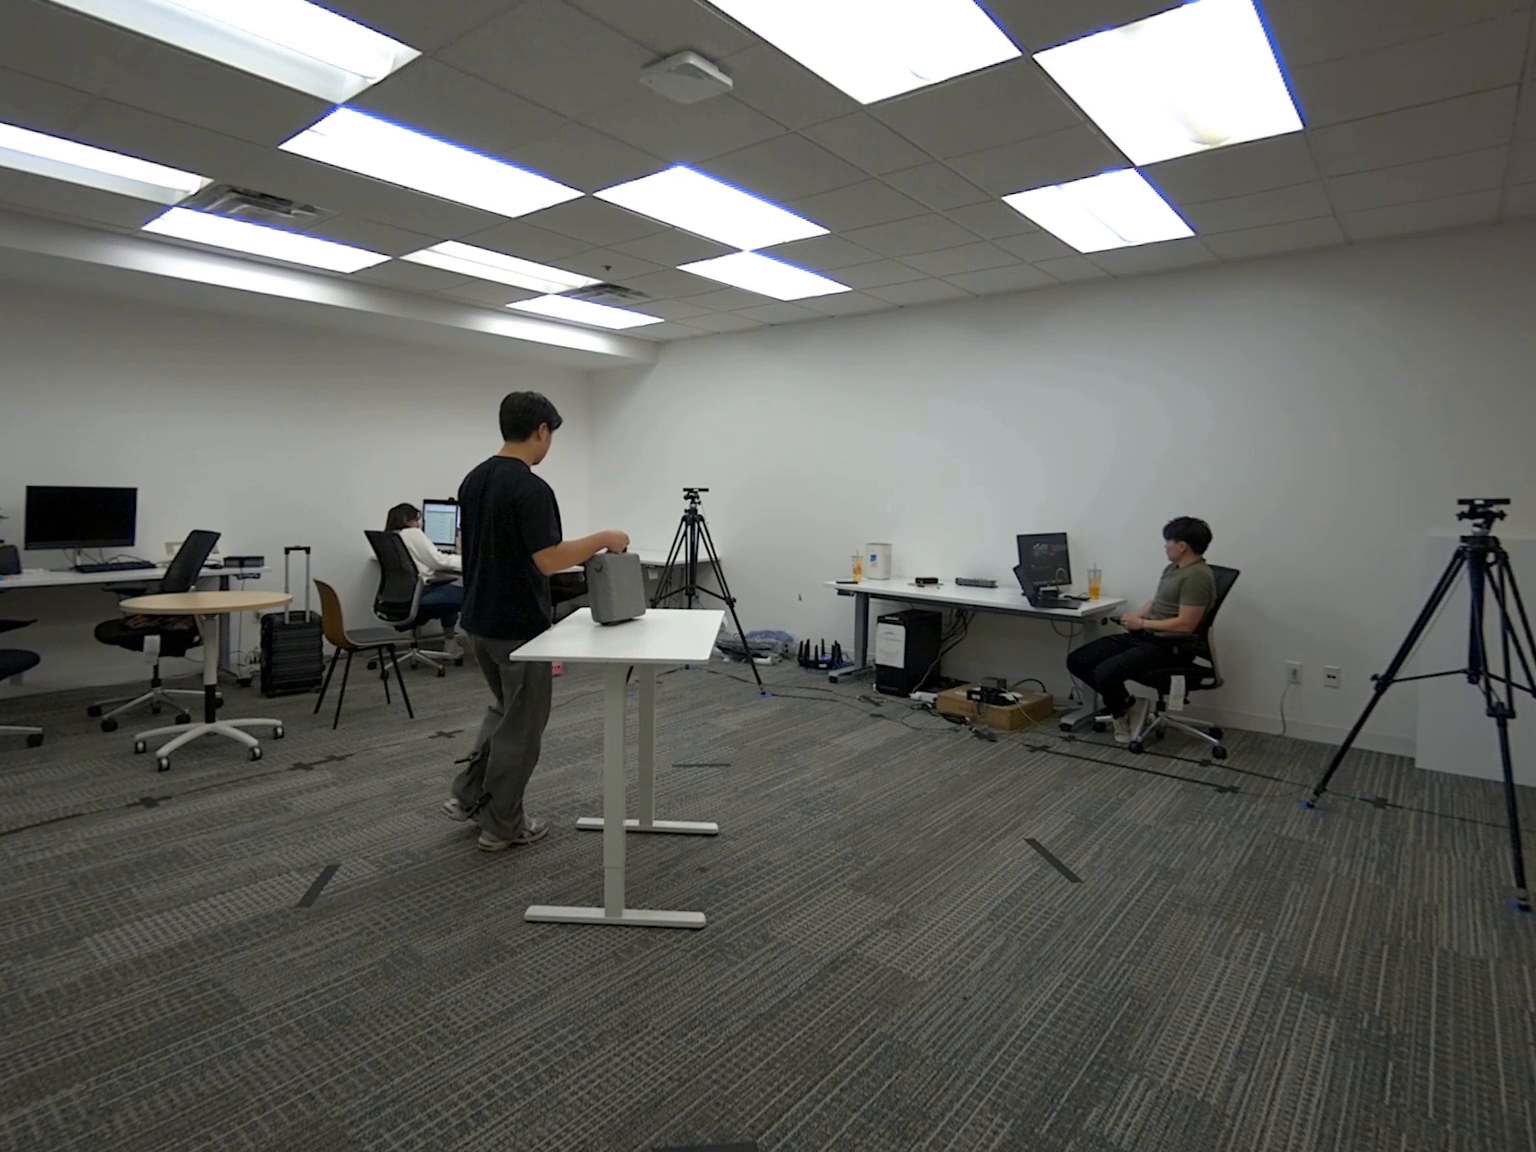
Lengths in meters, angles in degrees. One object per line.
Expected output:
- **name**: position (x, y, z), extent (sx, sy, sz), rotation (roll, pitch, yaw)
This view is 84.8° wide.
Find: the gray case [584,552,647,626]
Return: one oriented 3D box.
- **gray case**: position (-0.579, 0.029, 3.197), extent (0.105, 0.287, 0.257), rotation (-5, 0, 22)
